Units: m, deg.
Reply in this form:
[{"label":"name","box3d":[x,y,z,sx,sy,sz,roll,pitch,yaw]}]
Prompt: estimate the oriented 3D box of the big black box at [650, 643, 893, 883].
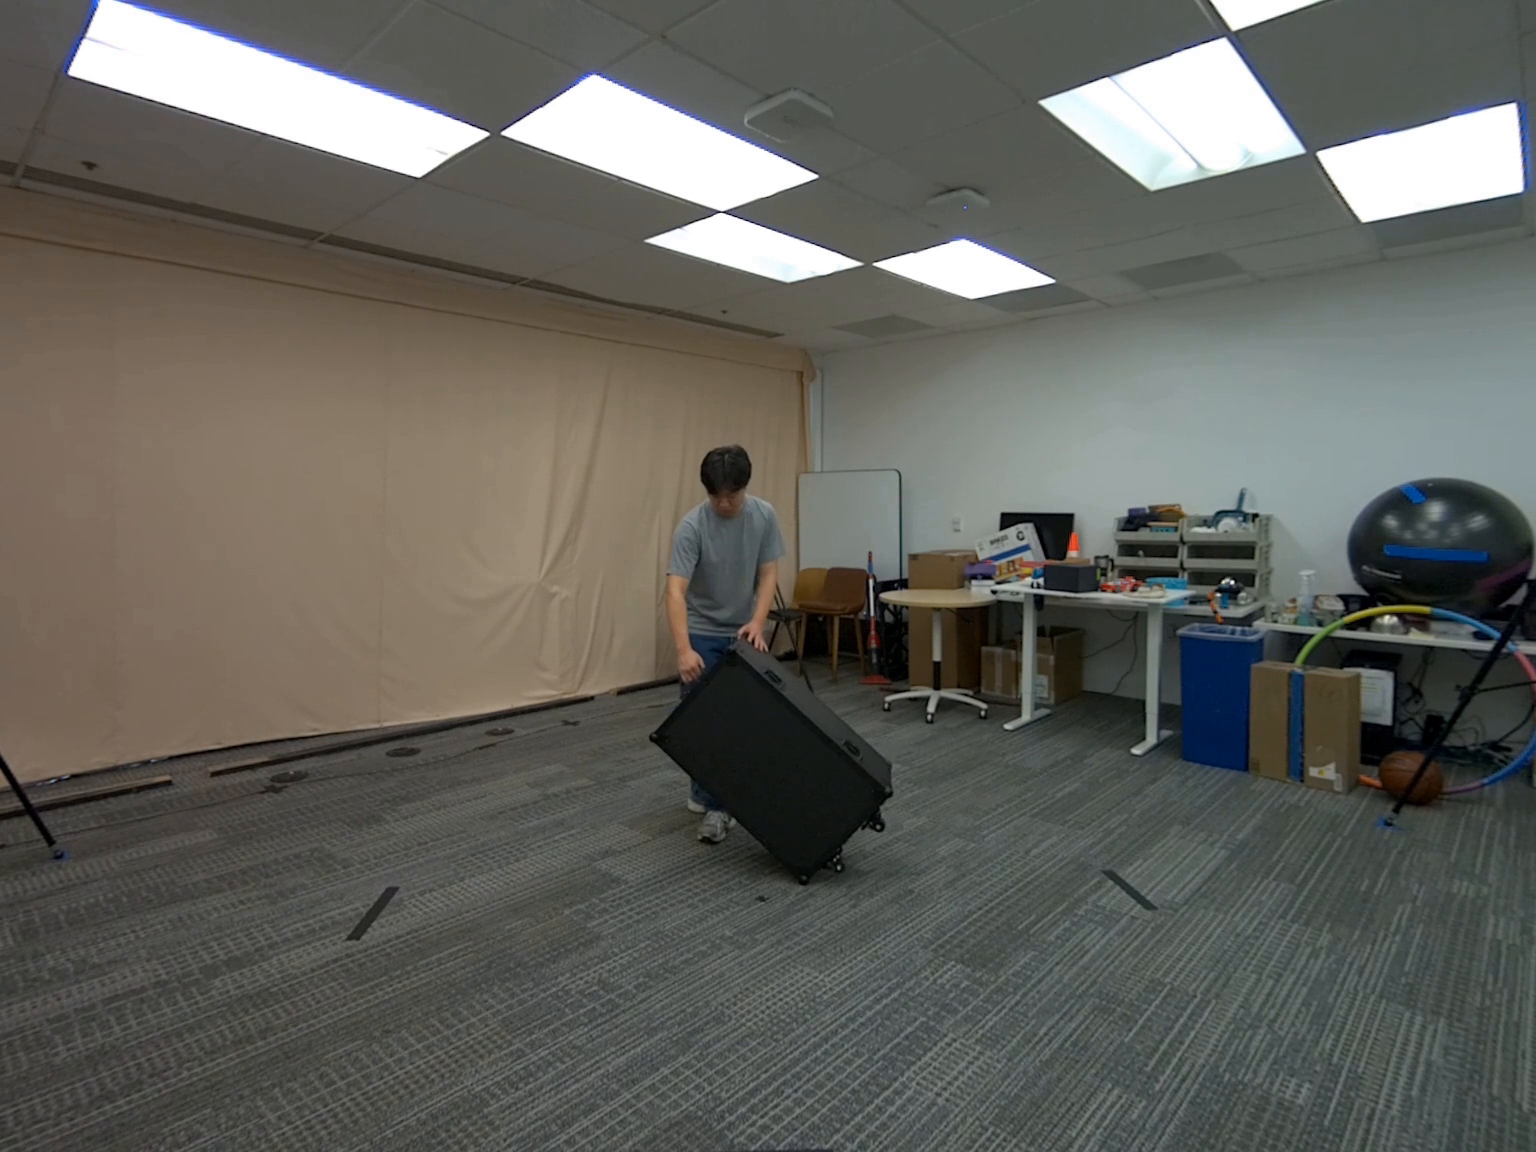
[{"label":"big black box","box3d":[0.052,0.709,3.268,0.870,0.522,0.392,42,9,7]}]
